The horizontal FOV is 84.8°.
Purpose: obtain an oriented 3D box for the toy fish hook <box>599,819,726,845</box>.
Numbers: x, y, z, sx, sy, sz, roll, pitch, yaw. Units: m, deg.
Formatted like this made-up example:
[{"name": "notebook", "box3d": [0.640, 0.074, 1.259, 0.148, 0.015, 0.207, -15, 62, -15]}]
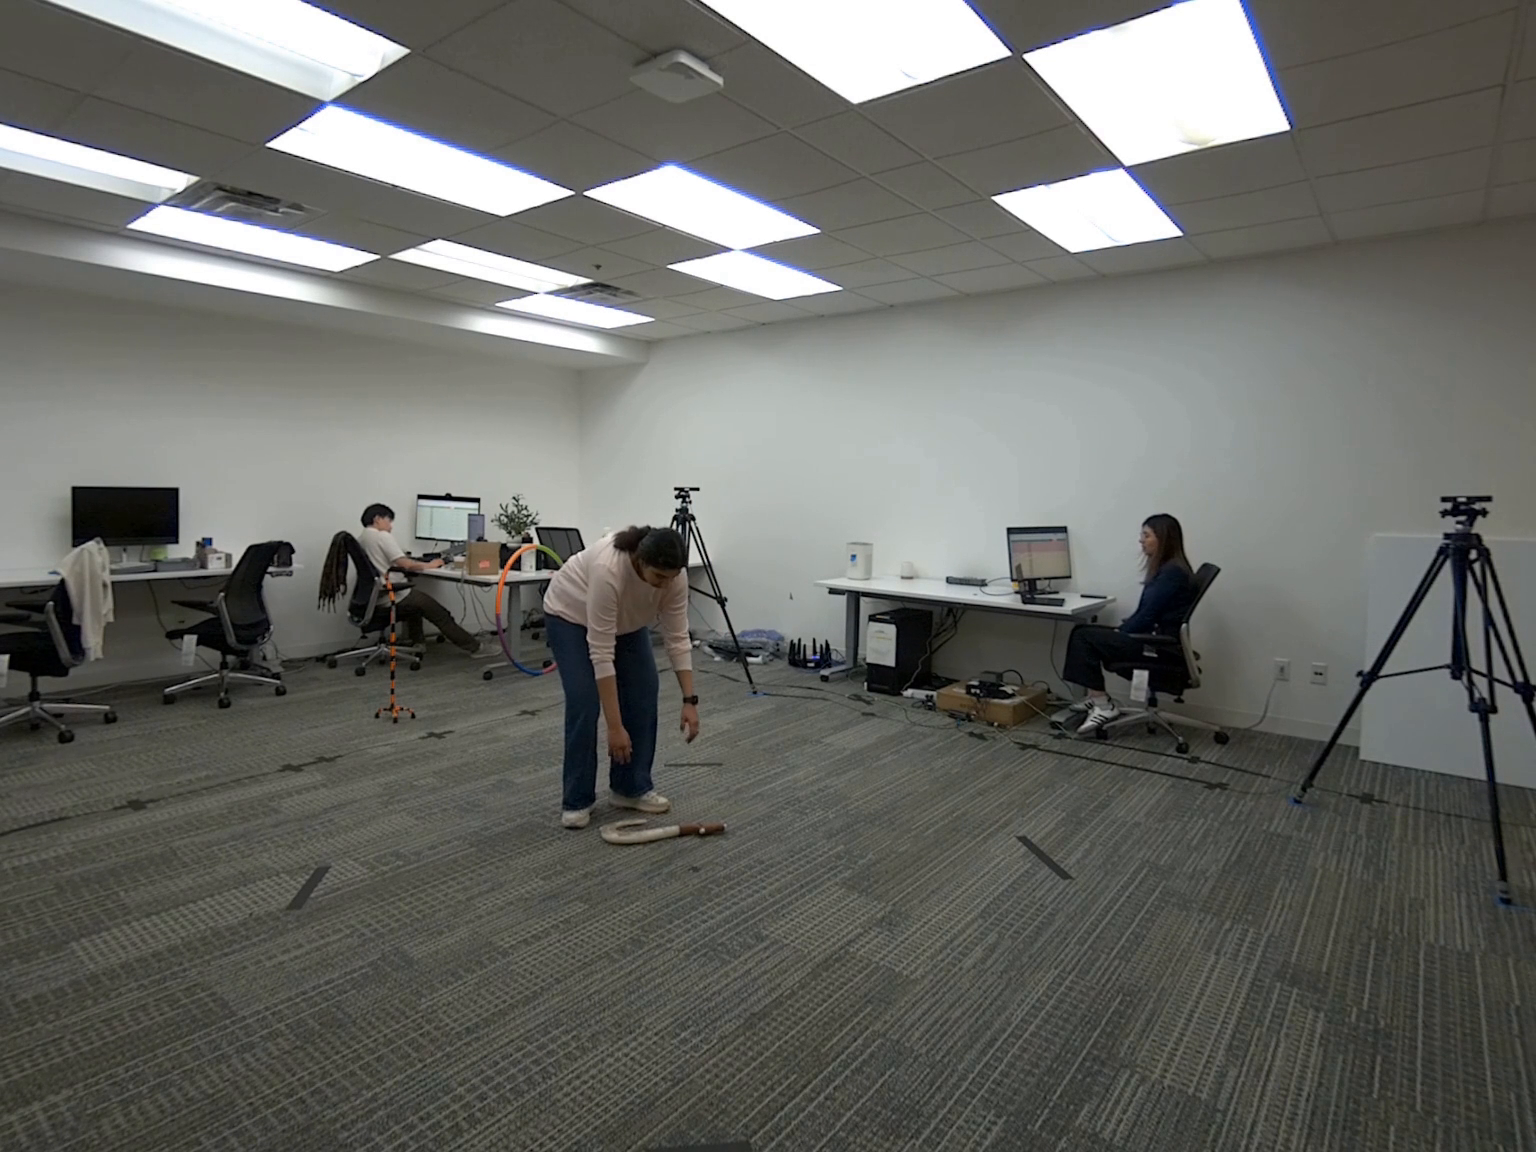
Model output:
[{"name": "toy fish hook", "box3d": [-0.429, 1.009, 3.430, 0.499, 0.048, 0.229, -1, 7, -15]}]
